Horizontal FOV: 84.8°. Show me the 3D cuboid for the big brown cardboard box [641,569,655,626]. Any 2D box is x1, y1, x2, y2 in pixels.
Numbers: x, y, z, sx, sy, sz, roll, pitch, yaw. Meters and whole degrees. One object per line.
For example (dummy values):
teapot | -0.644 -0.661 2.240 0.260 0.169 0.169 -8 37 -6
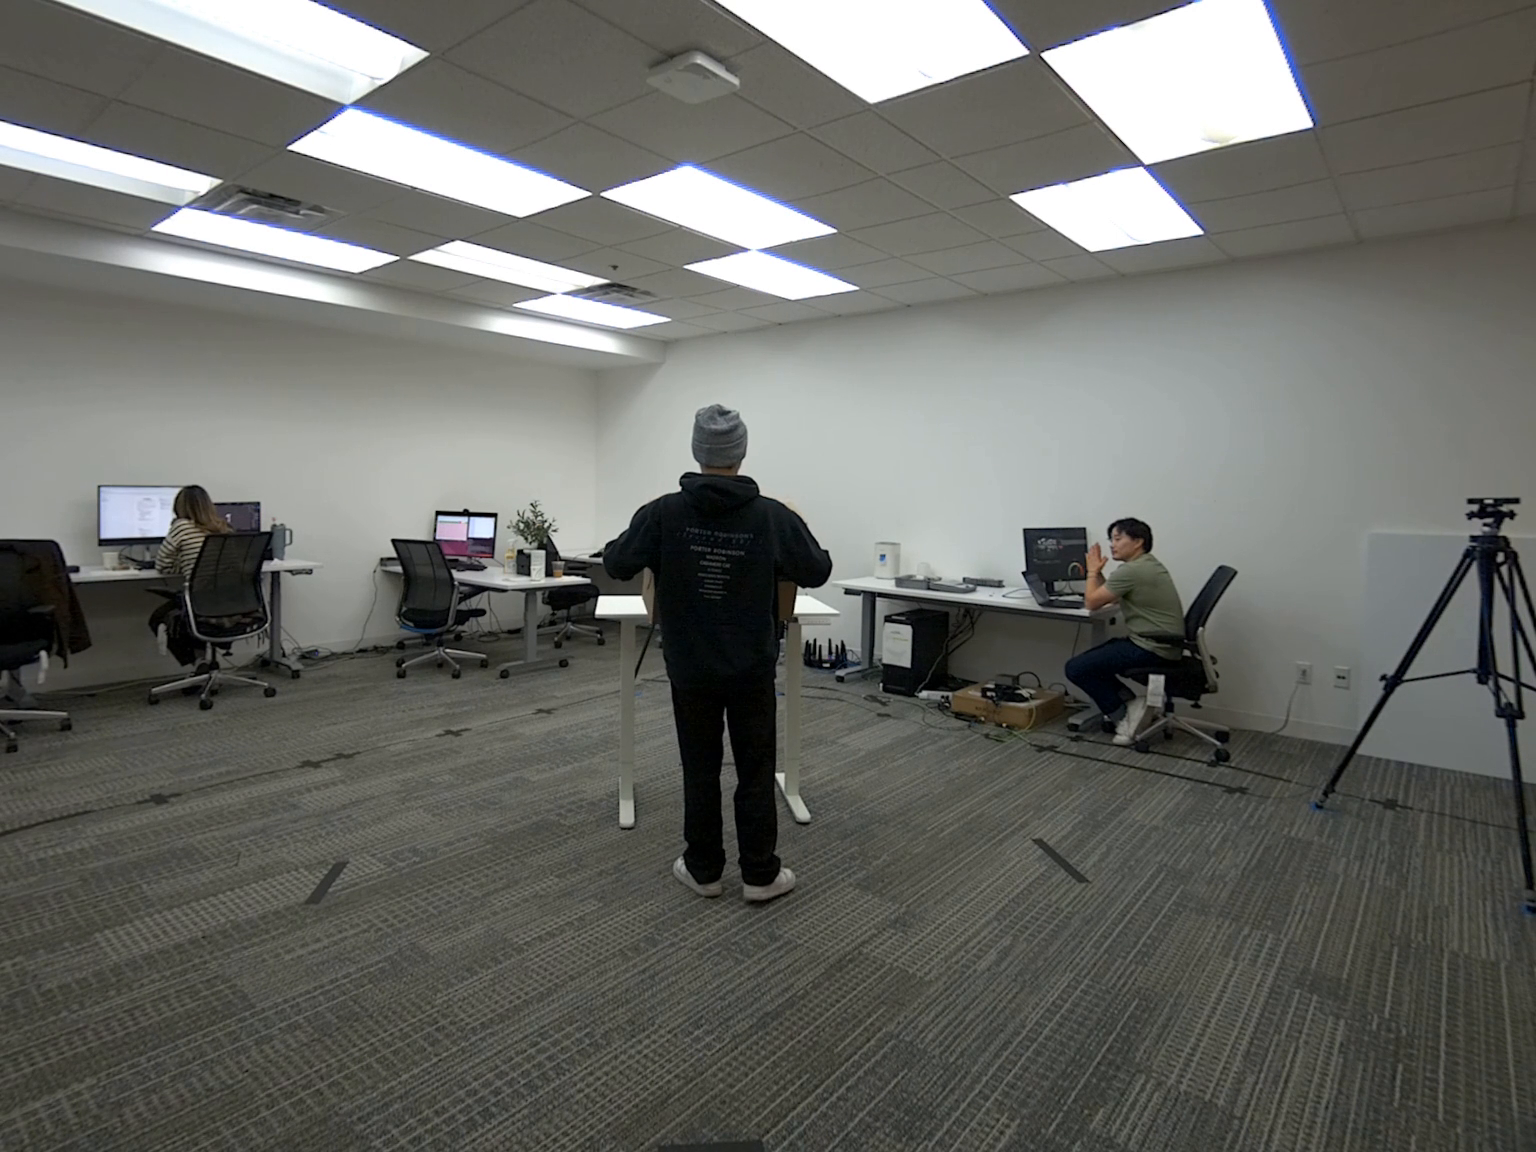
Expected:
big brown cardboard box | -0.173 -0.059 3.254 0.578 0.410 0.241 -1 24 -18
